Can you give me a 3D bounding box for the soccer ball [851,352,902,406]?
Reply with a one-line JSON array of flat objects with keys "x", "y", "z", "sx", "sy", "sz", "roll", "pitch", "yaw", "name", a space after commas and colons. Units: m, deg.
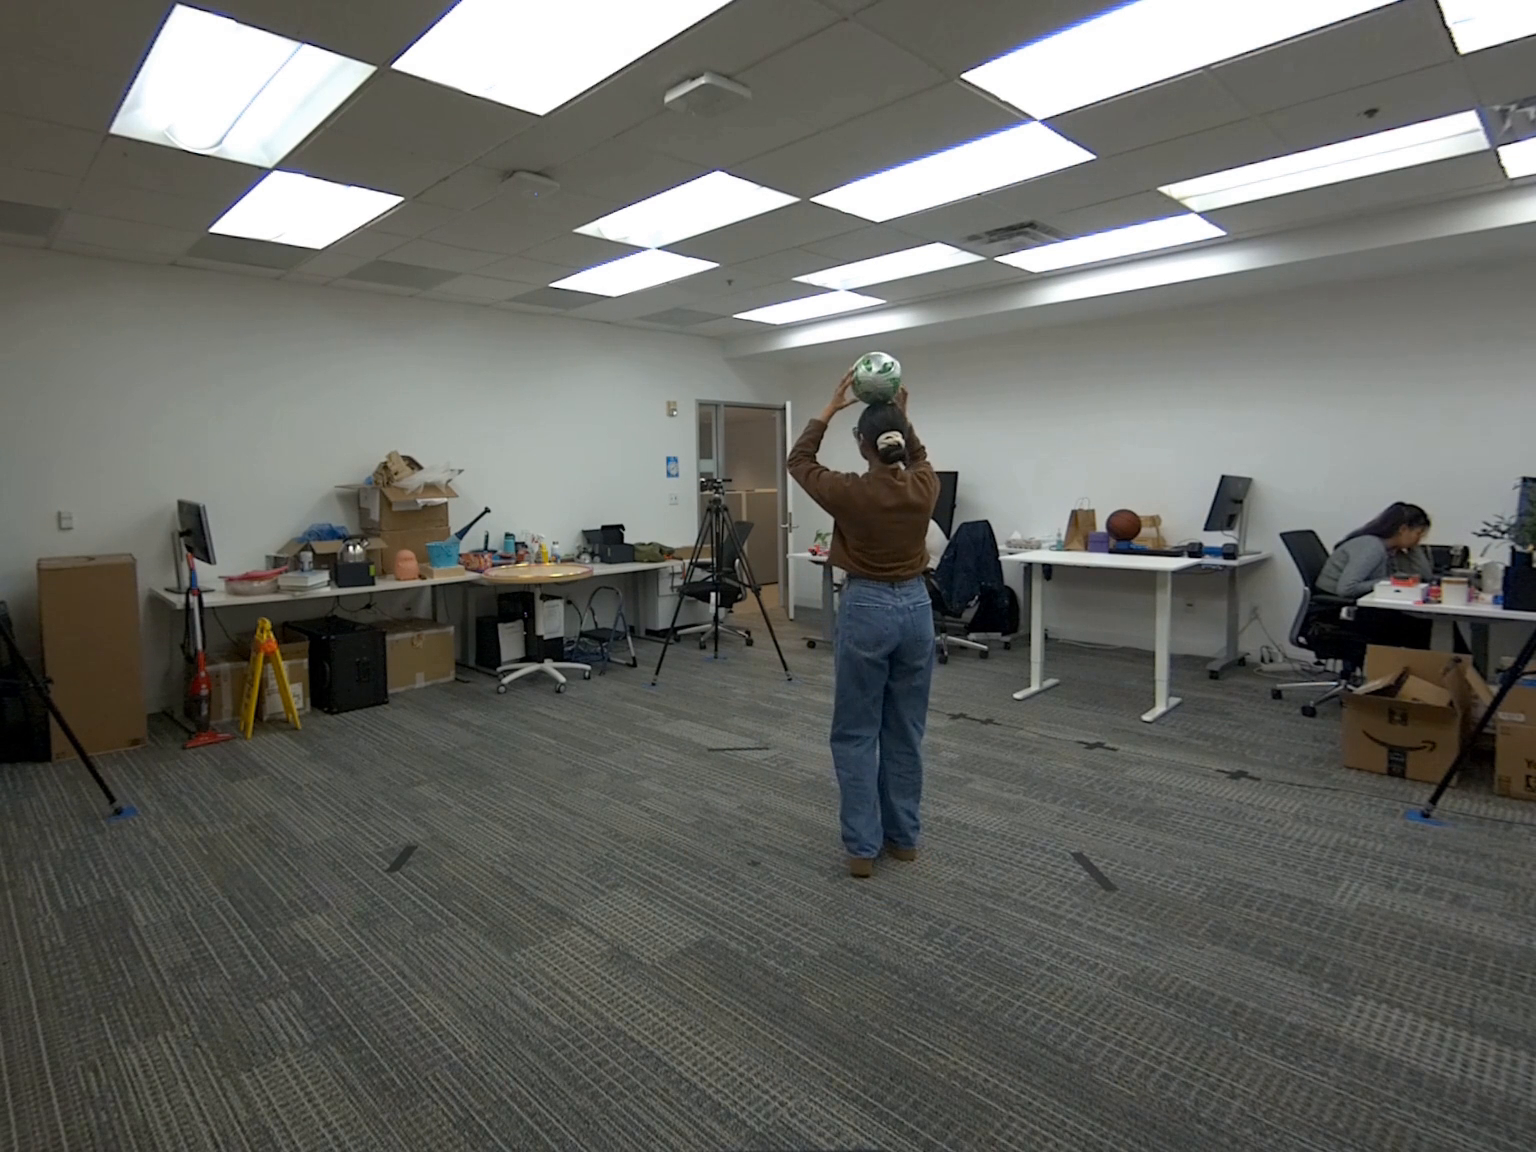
[{"x": 0.392, "y": -0.706, "z": 3.051, "sx": 0.187, "sy": 0.187, "sz": 0.188, "roll": -1, "pitch": 5, "yaw": -2, "name": "soccer ball"}]
